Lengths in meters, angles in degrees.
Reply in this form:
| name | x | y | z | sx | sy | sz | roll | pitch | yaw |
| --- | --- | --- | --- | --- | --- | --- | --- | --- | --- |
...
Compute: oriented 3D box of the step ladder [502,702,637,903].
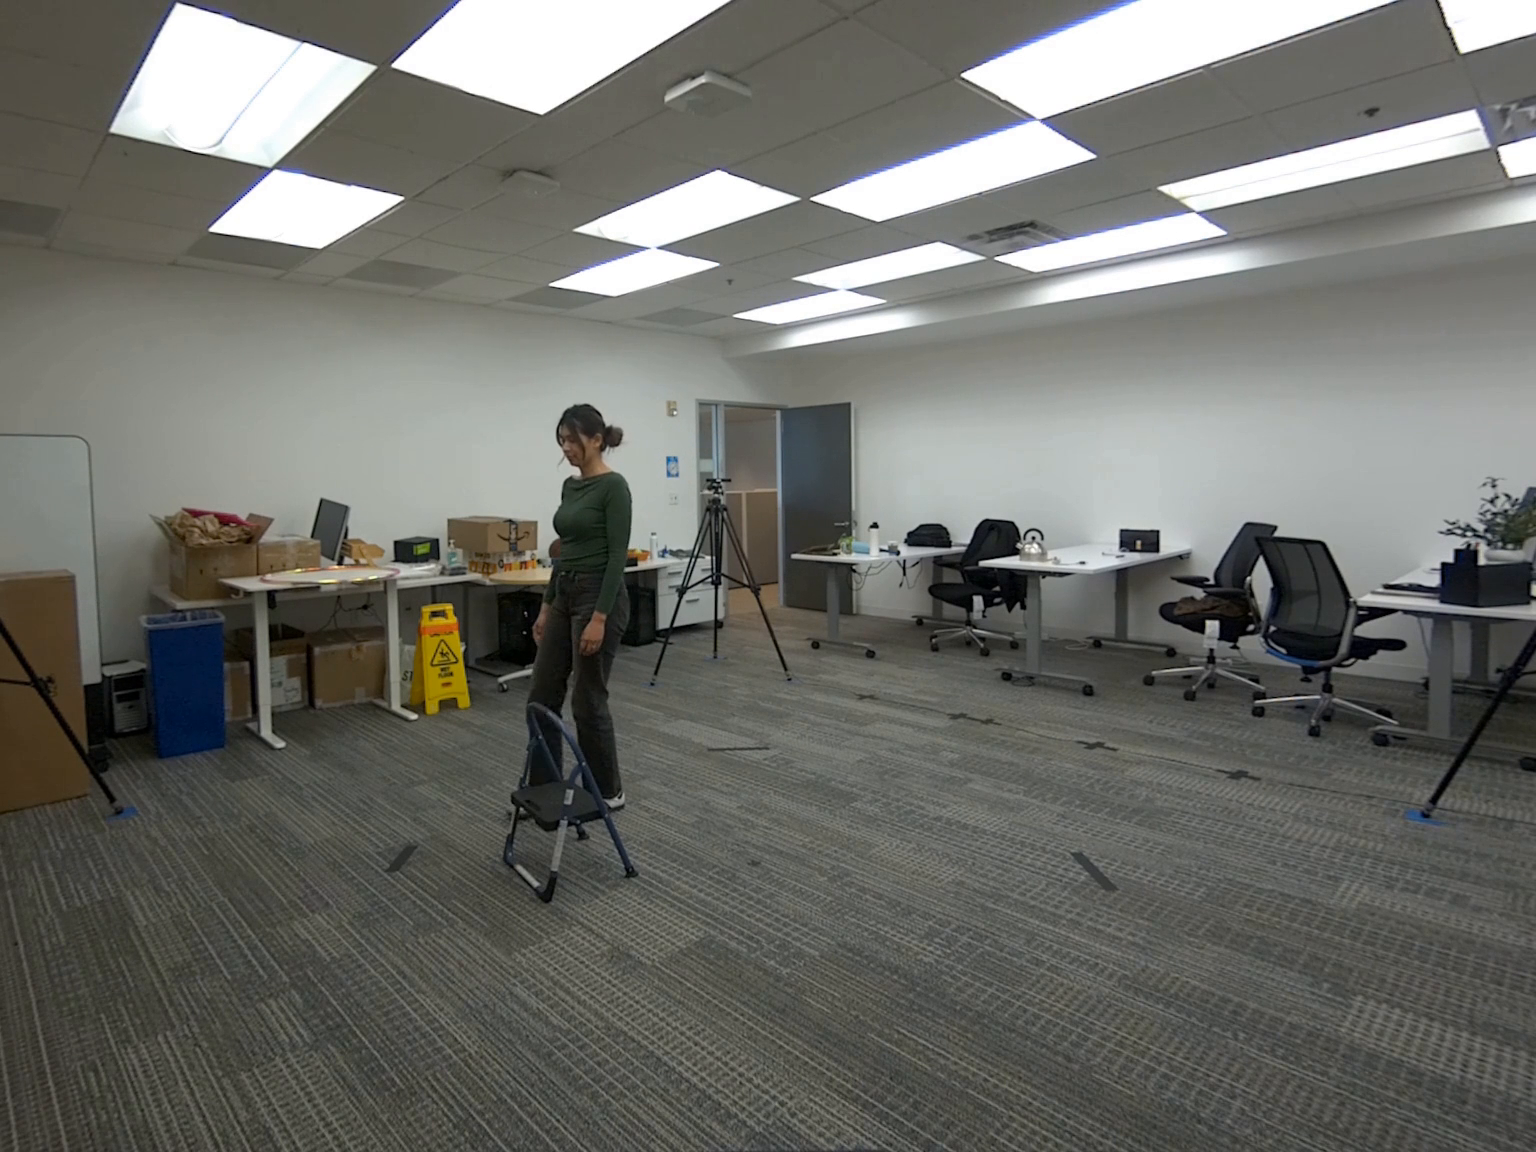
| name | x | y | z | sx | sy | sz | roll | pitch | yaw |
| --- | --- | --- | --- | --- | --- | --- | --- | --- | --- |
| step ladder | -0.734 | 0.758 | 3.082 | 0.340 | 0.604 | 0.443 | -5 | 5 | -36 |
